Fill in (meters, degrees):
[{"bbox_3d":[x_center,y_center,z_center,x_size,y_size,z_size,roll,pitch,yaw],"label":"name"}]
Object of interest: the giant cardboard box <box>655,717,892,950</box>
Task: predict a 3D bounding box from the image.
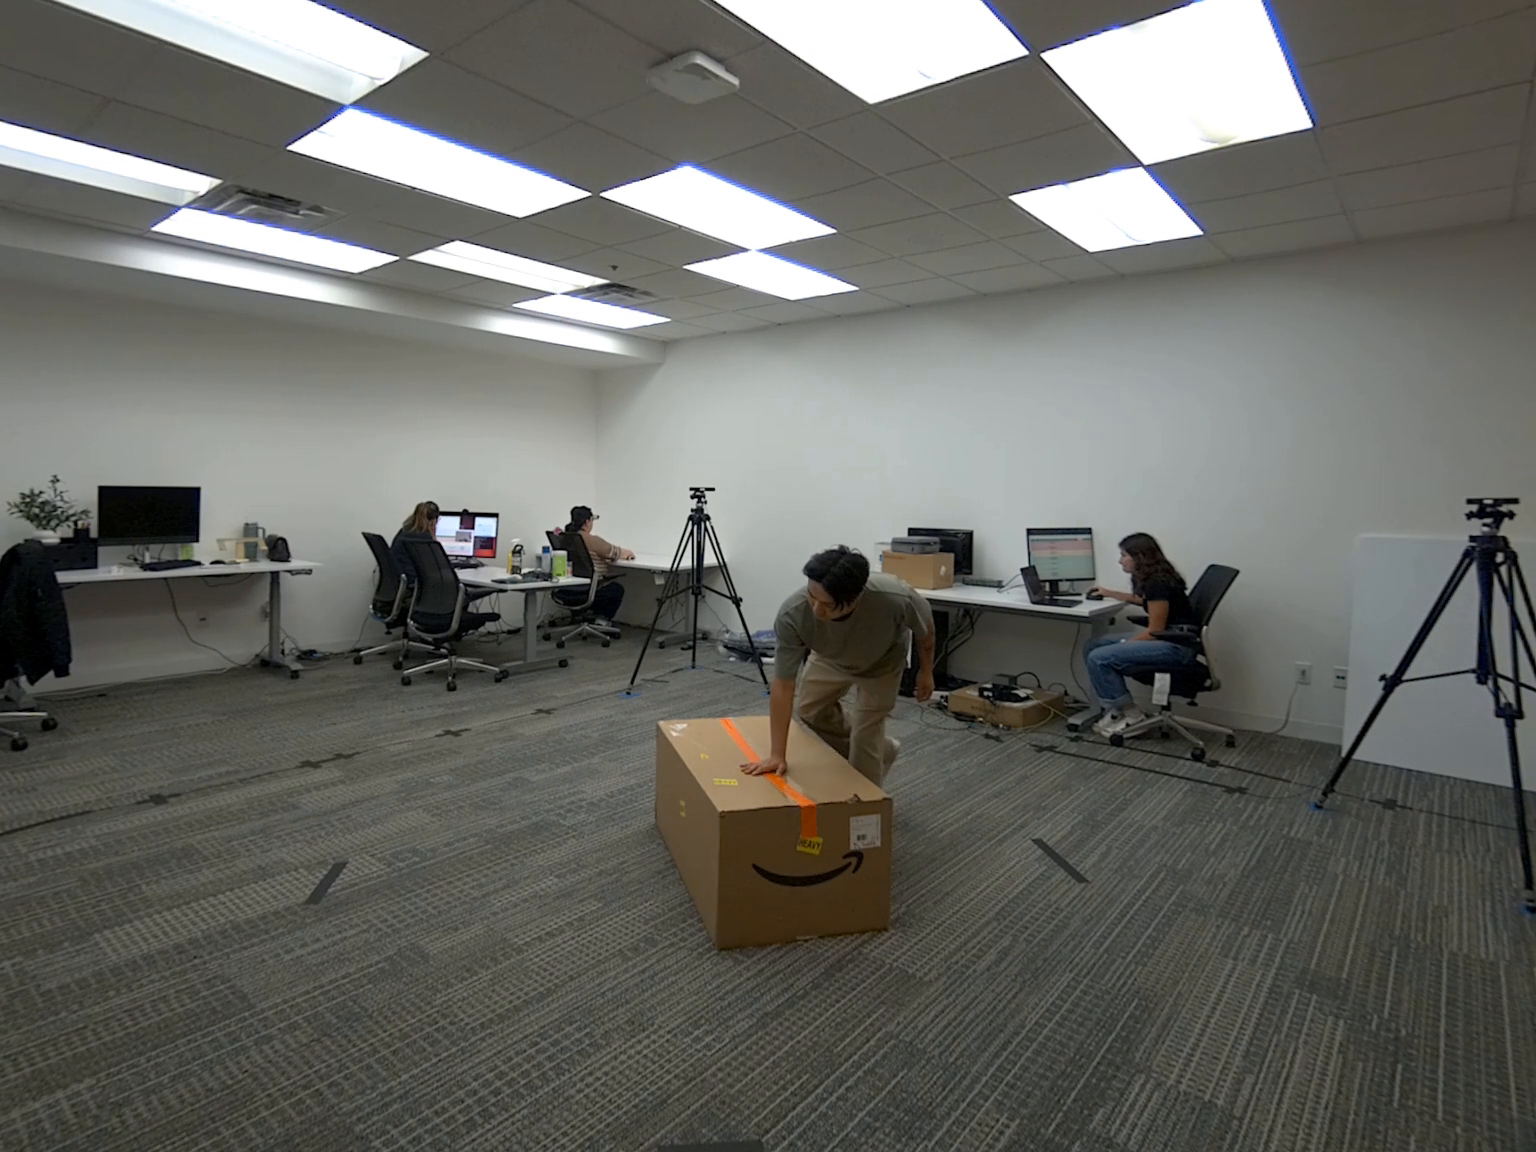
[{"bbox_3d":[-0.047,0.858,3.101,0.568,0.424,1.047,0,5,-17],"label":"giant cardboard box"}]
